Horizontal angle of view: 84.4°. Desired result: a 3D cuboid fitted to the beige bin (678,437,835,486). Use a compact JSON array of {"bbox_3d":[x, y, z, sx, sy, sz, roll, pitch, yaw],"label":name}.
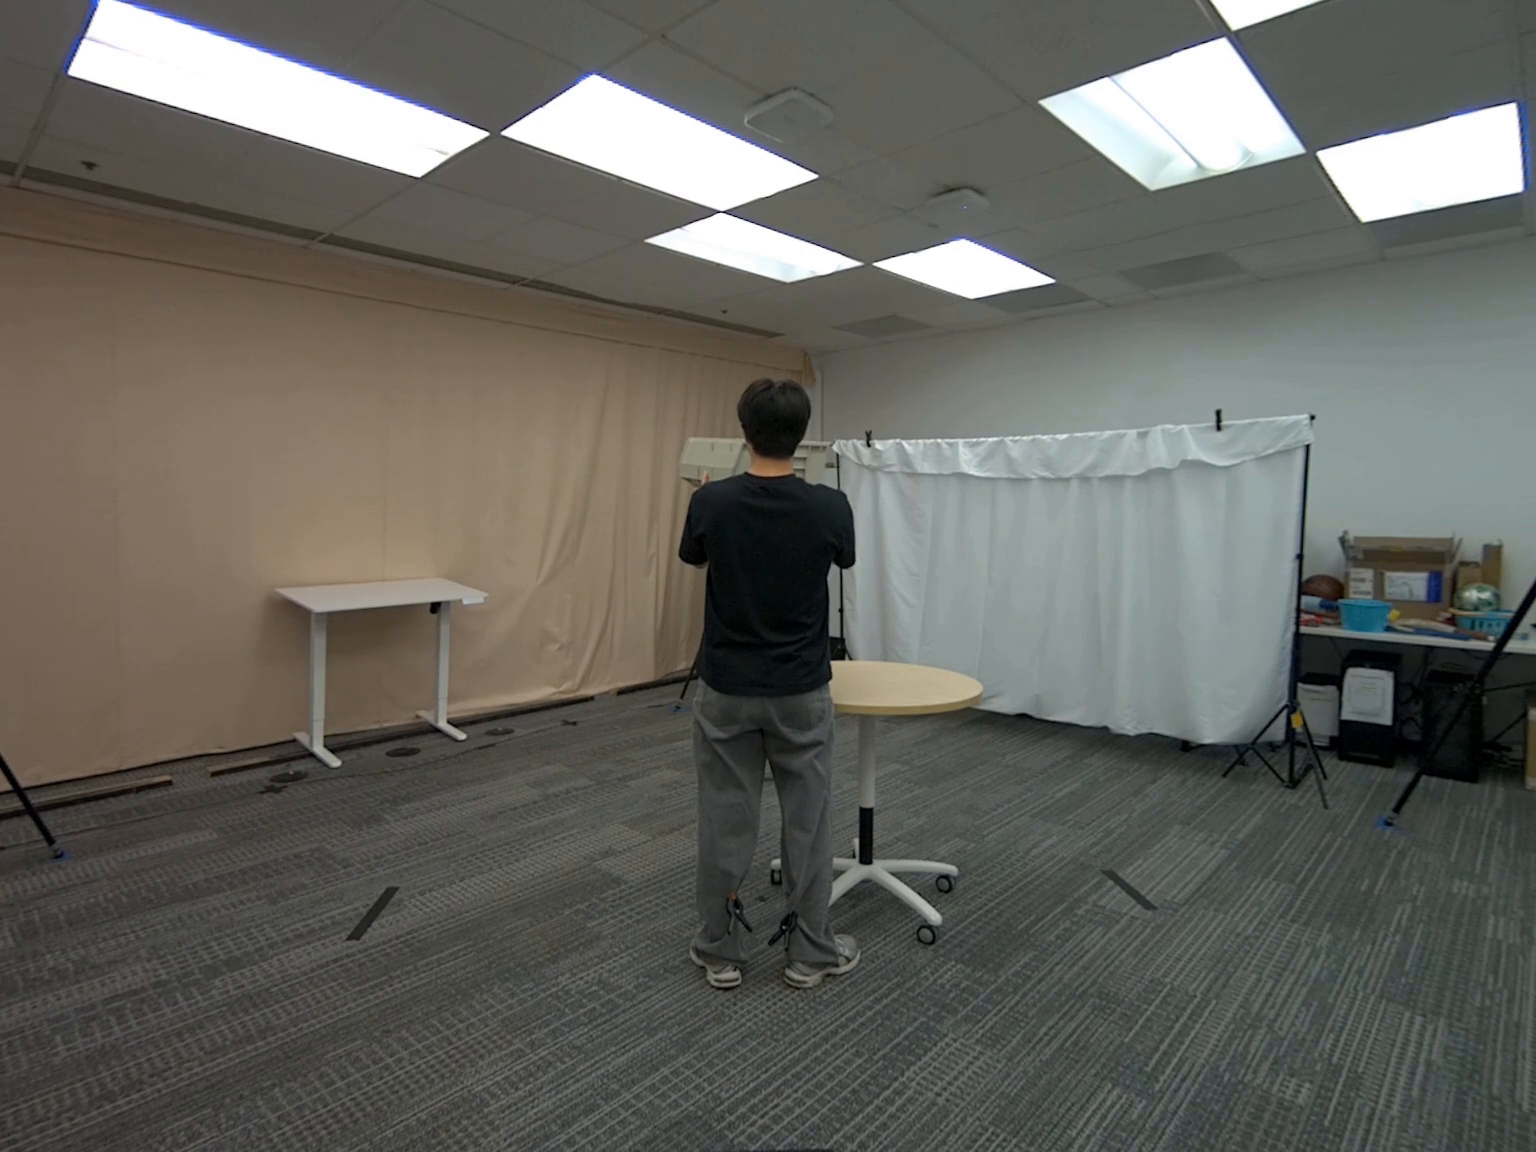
[{"bbox_3d":[-0.051,-0.385,2.944,0.368,0.188,0.435,-2,9,-28],"label":"beige bin"}]
